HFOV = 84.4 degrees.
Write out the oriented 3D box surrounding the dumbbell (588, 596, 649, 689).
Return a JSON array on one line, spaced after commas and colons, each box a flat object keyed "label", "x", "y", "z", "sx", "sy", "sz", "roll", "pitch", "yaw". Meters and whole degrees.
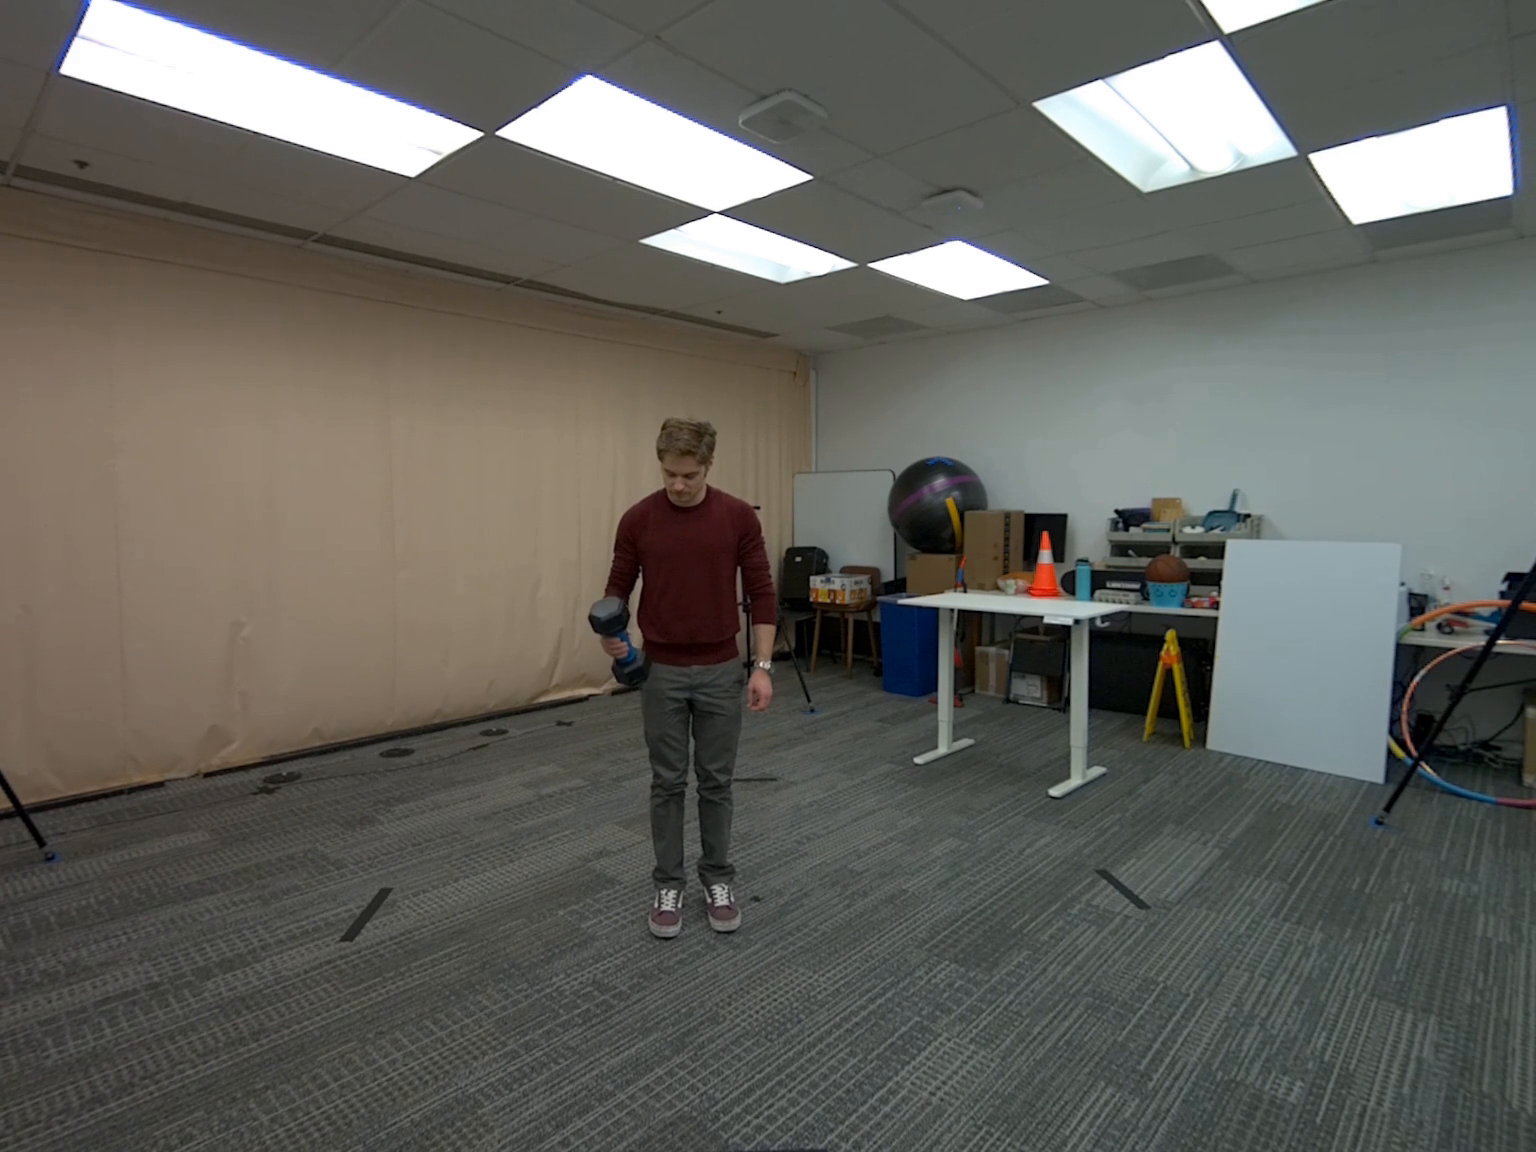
[{"label": "dumbbell", "x": -0.459, "y": 0.208, "z": 2.604, "sx": 0.110, "sy": 0.286, "sz": 0.124, "roll": -8, "pitch": 34, "yaw": 15}]
